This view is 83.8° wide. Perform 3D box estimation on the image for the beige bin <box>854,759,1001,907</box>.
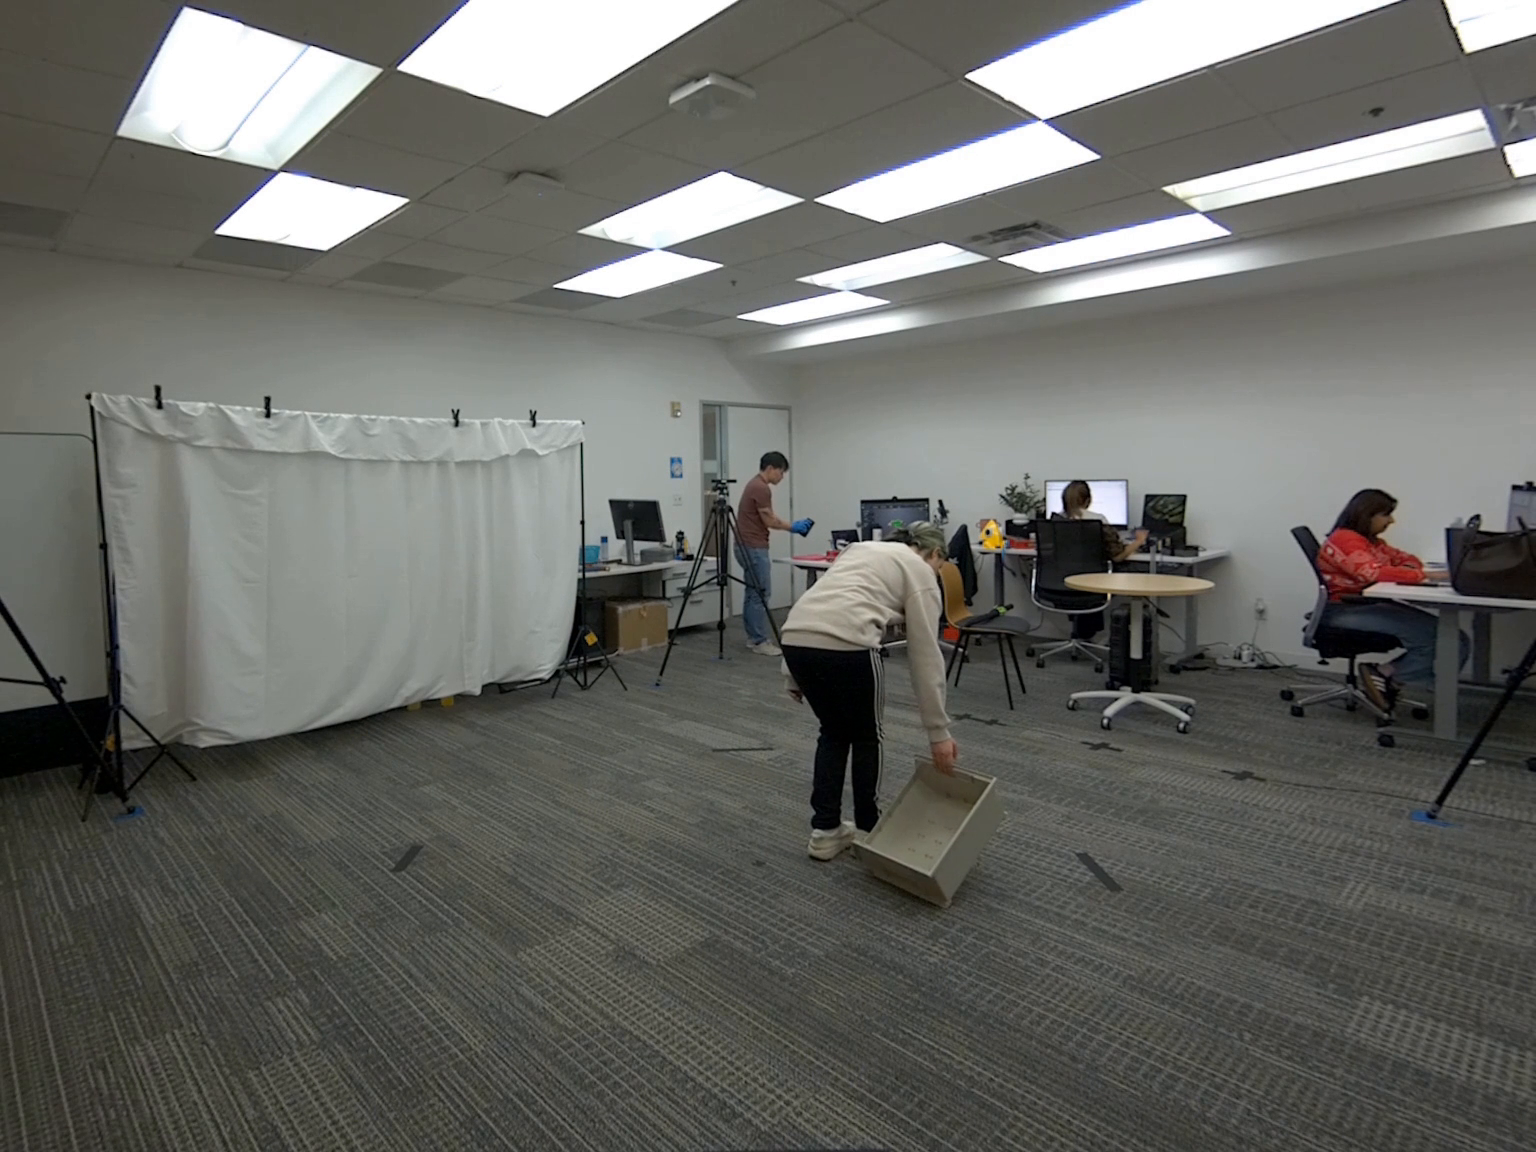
[{"bbox_3d":[0.549,0.864,2.953,0.389,0.184,0.421,7,42,50],"label":"beige bin"}]
